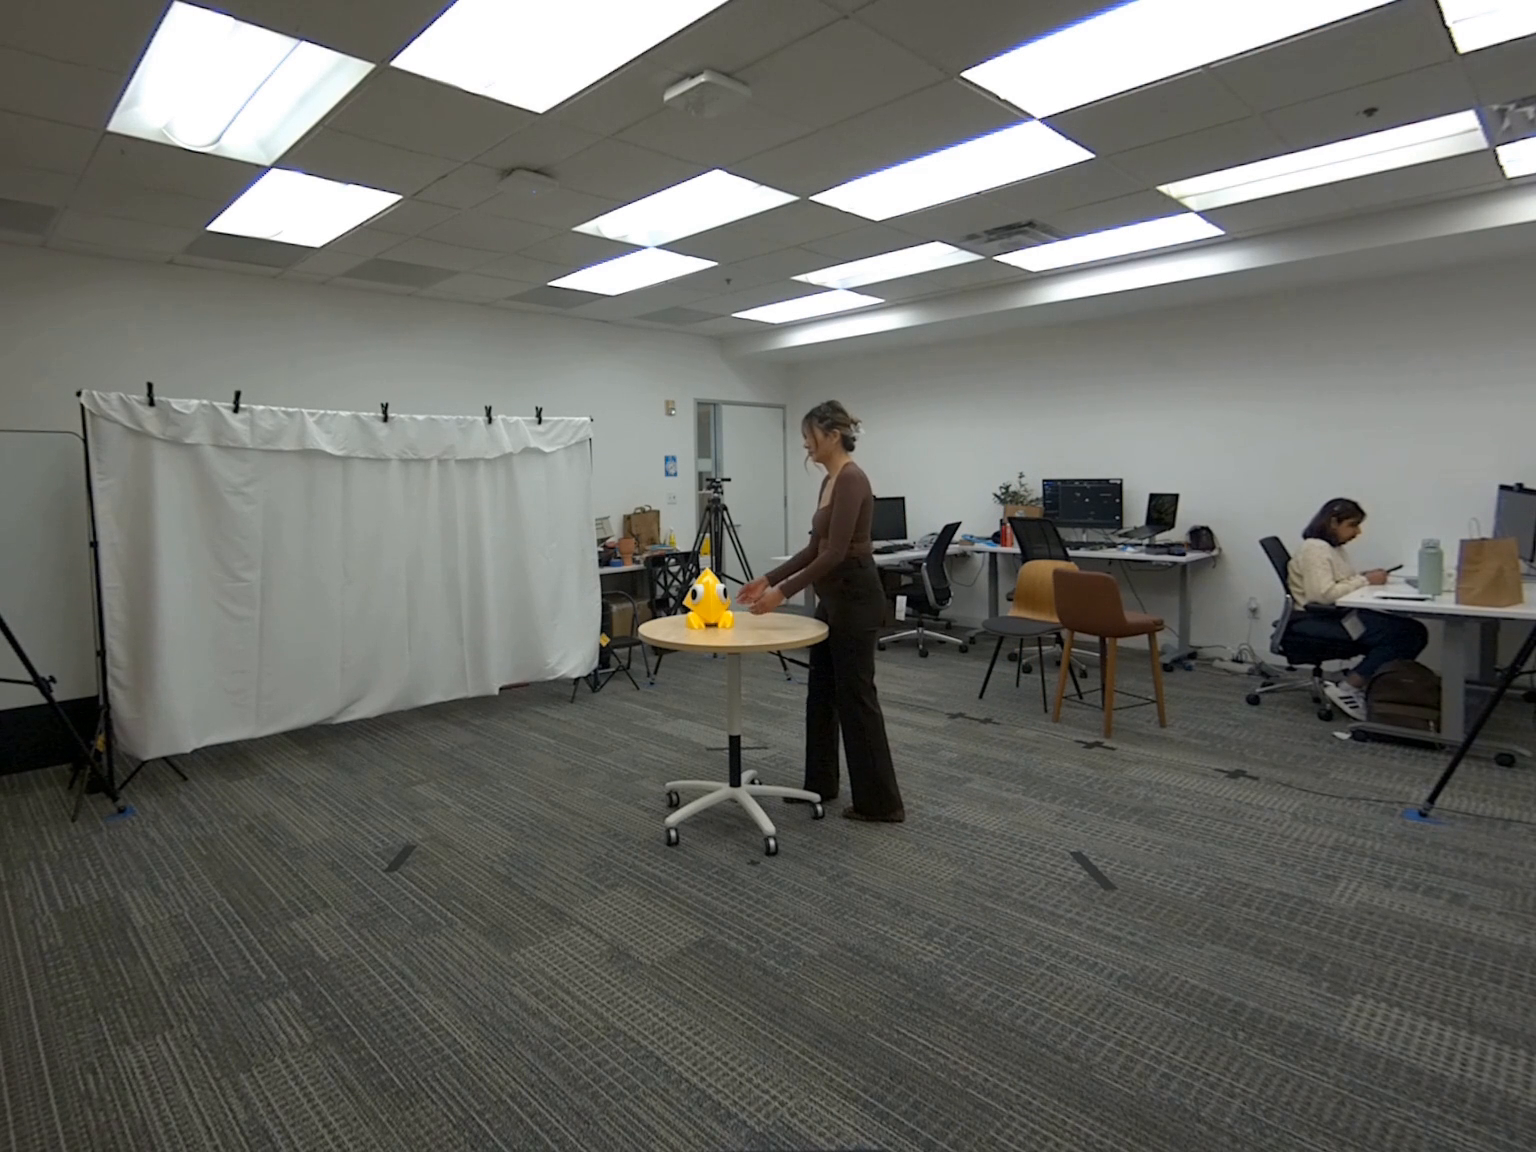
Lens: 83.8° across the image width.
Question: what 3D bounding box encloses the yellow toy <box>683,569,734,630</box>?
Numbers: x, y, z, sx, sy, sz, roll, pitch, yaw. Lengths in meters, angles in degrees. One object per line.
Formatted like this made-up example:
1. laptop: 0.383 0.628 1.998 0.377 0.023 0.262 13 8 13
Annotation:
1. yellow toy: -0.237 0.084 3.499 0.203 0.230 0.195 -2 5 -8
